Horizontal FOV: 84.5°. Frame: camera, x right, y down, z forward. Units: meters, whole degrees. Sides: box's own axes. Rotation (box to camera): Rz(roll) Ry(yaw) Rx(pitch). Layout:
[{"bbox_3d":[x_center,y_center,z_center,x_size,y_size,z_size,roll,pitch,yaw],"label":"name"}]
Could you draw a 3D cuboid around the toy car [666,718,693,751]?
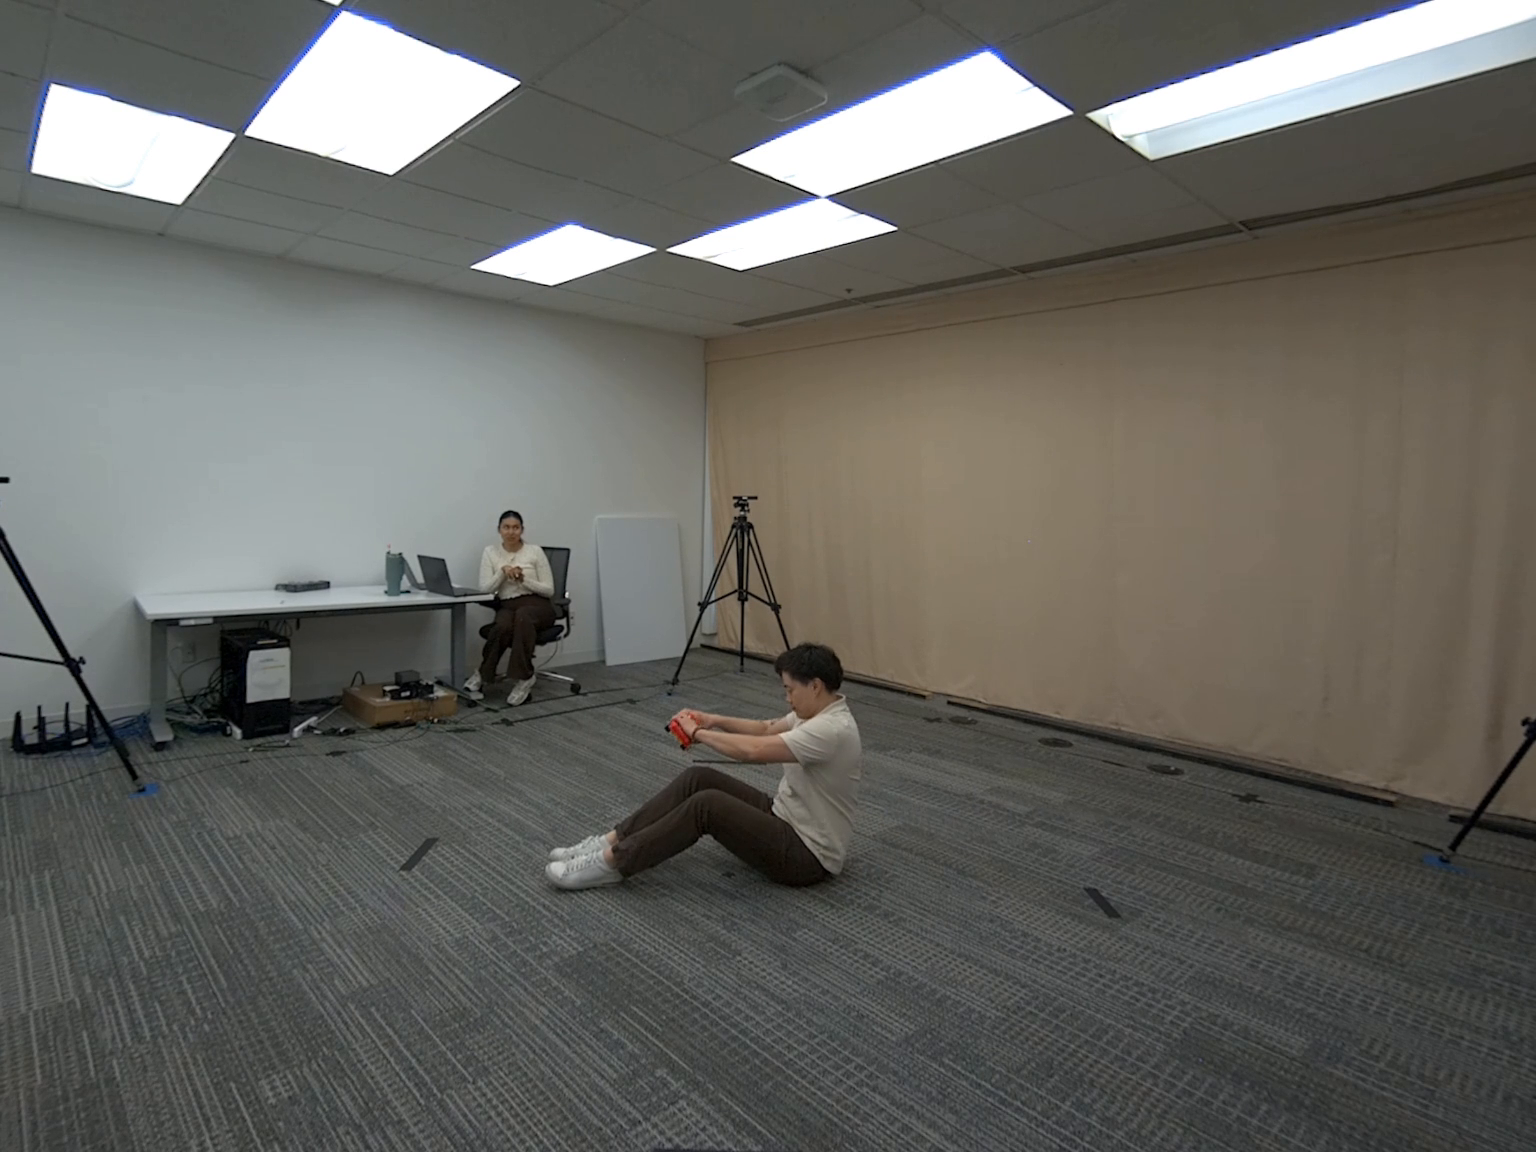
[{"bbox_3d":[-0.308,0.588,3.163,0.083,0.131,0.253,-43,-4,13],"label":"toy car"}]
